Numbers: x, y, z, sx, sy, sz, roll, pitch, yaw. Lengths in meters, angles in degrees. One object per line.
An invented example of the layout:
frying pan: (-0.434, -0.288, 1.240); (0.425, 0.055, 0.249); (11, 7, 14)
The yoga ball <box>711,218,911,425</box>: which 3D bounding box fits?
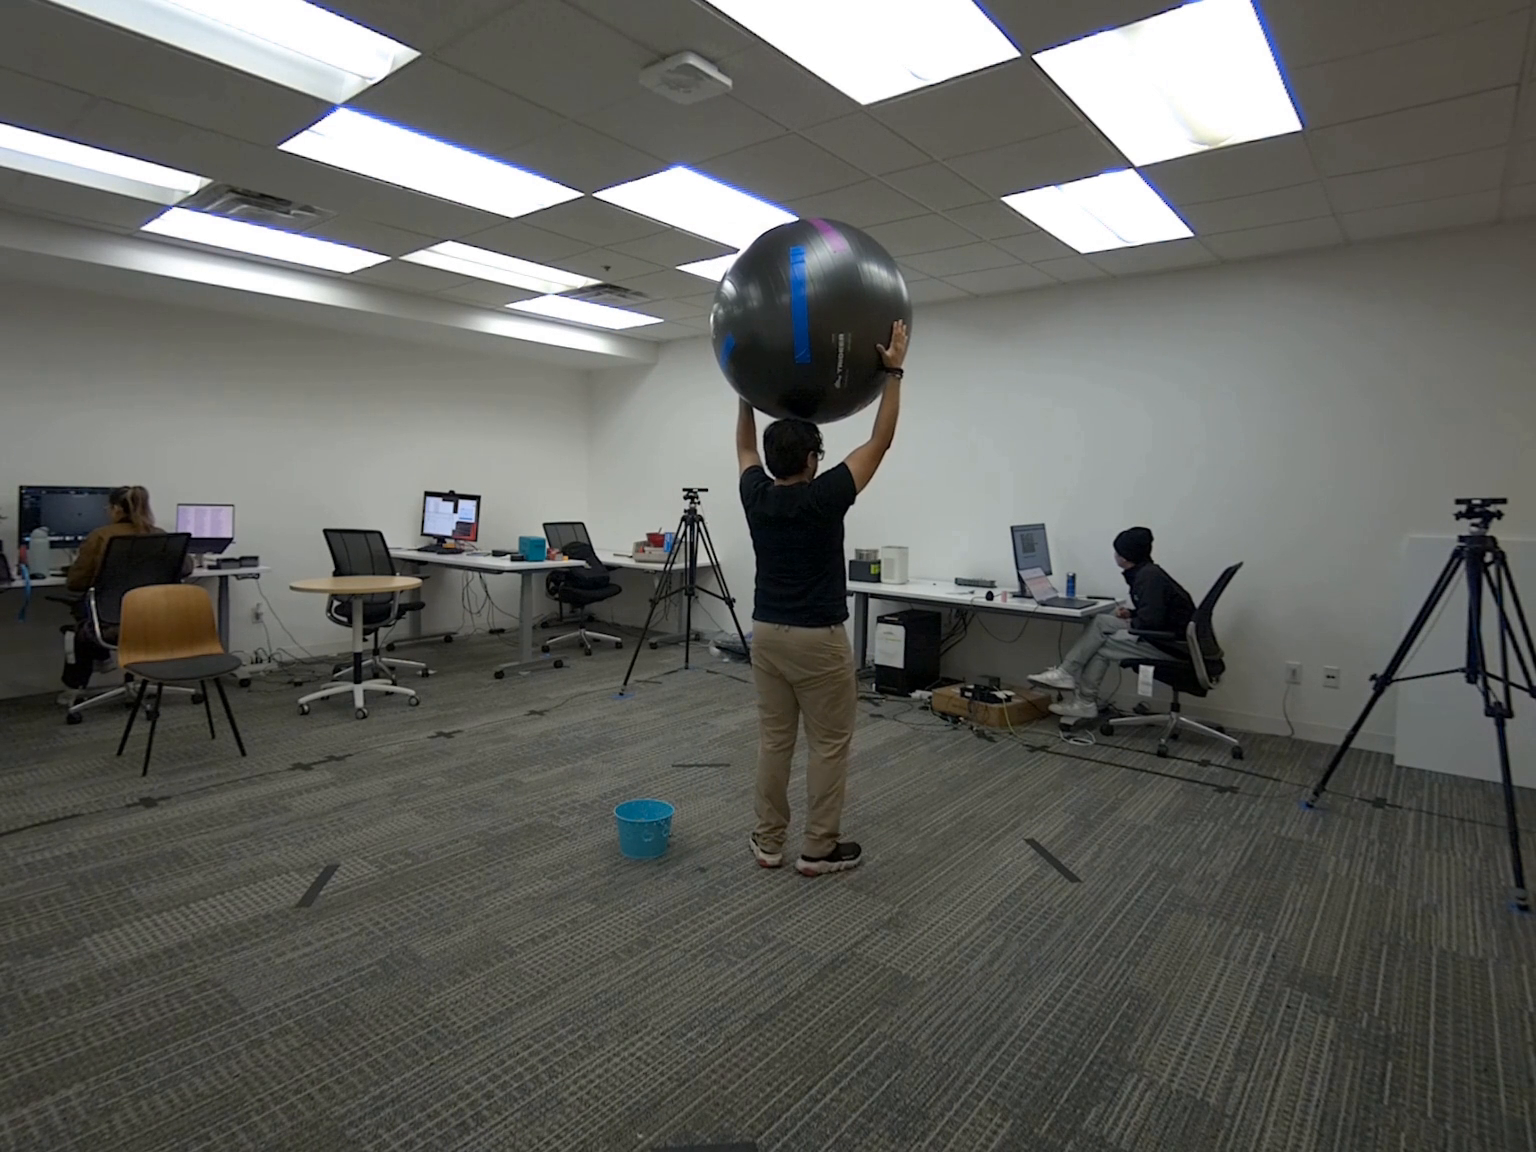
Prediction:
yoga ball: (0.157, -0.955, 3.227); (0.757, 0.756, 0.761); (1, 4, -2)
